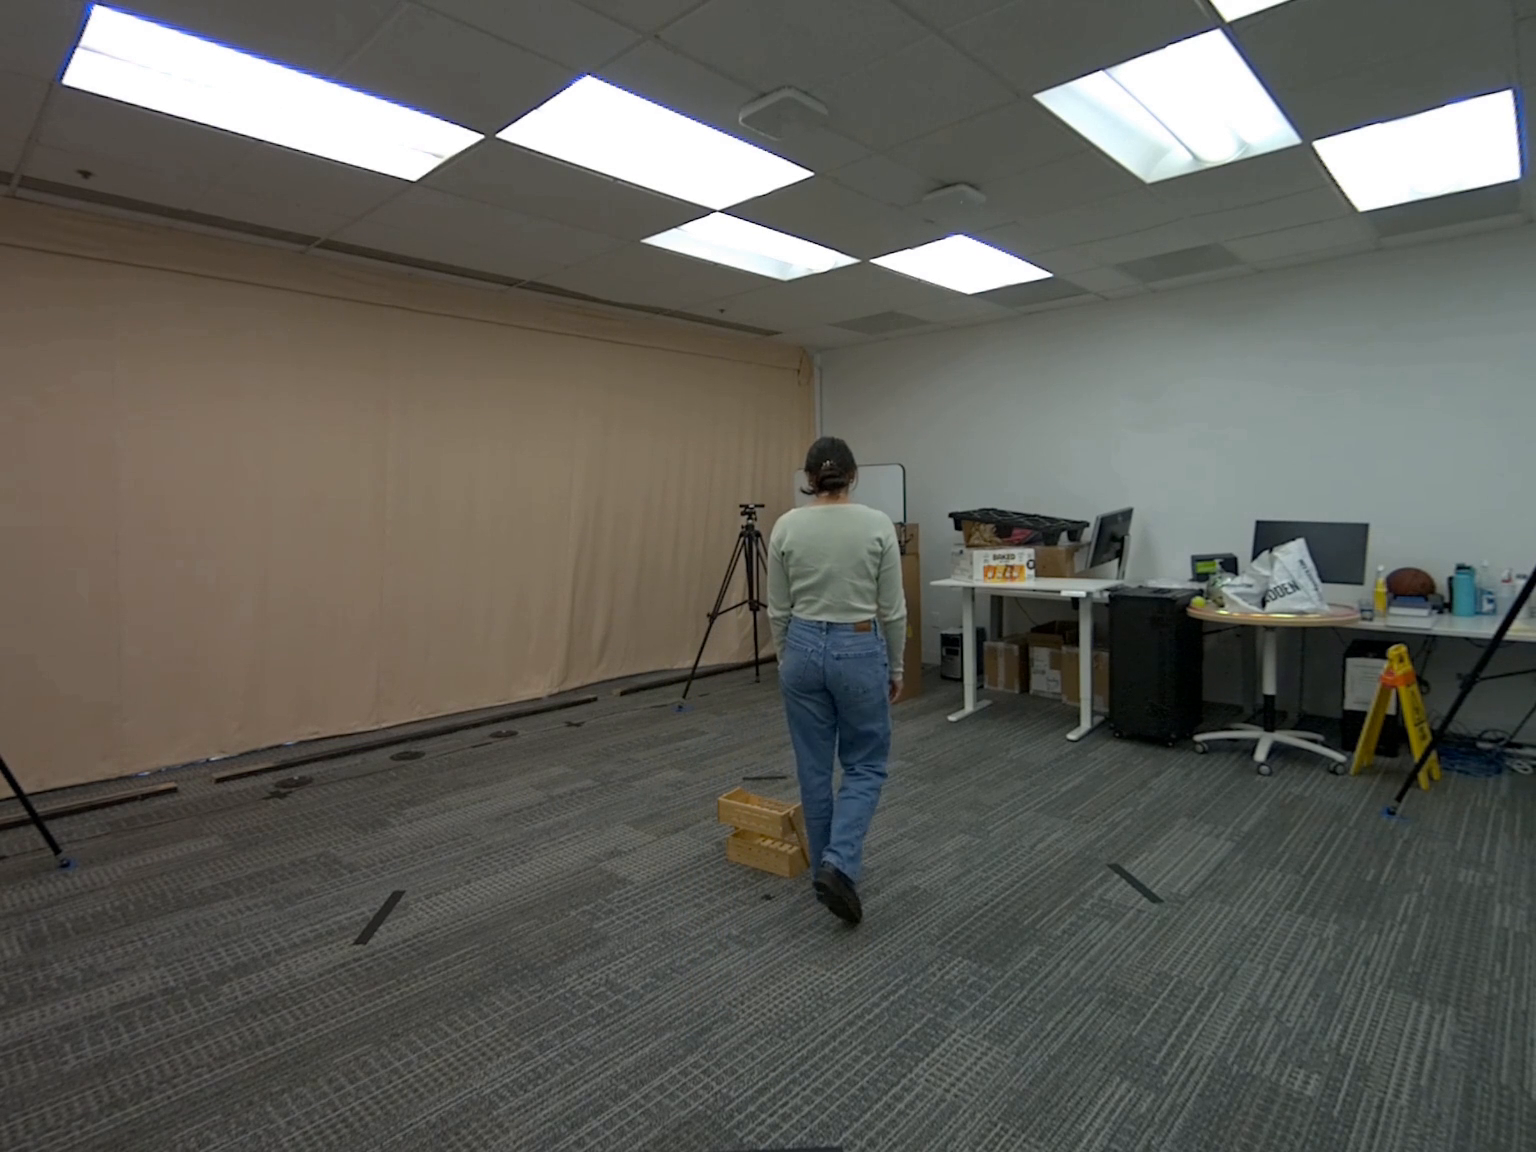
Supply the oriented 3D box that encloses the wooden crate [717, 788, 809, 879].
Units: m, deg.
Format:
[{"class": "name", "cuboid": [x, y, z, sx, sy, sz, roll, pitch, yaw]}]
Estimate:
[{"class": "wooden crate", "cuboid": [0.017, 0.977, 3.288, 0.335, 0.272, 0.293, 2, 6, 35]}]
